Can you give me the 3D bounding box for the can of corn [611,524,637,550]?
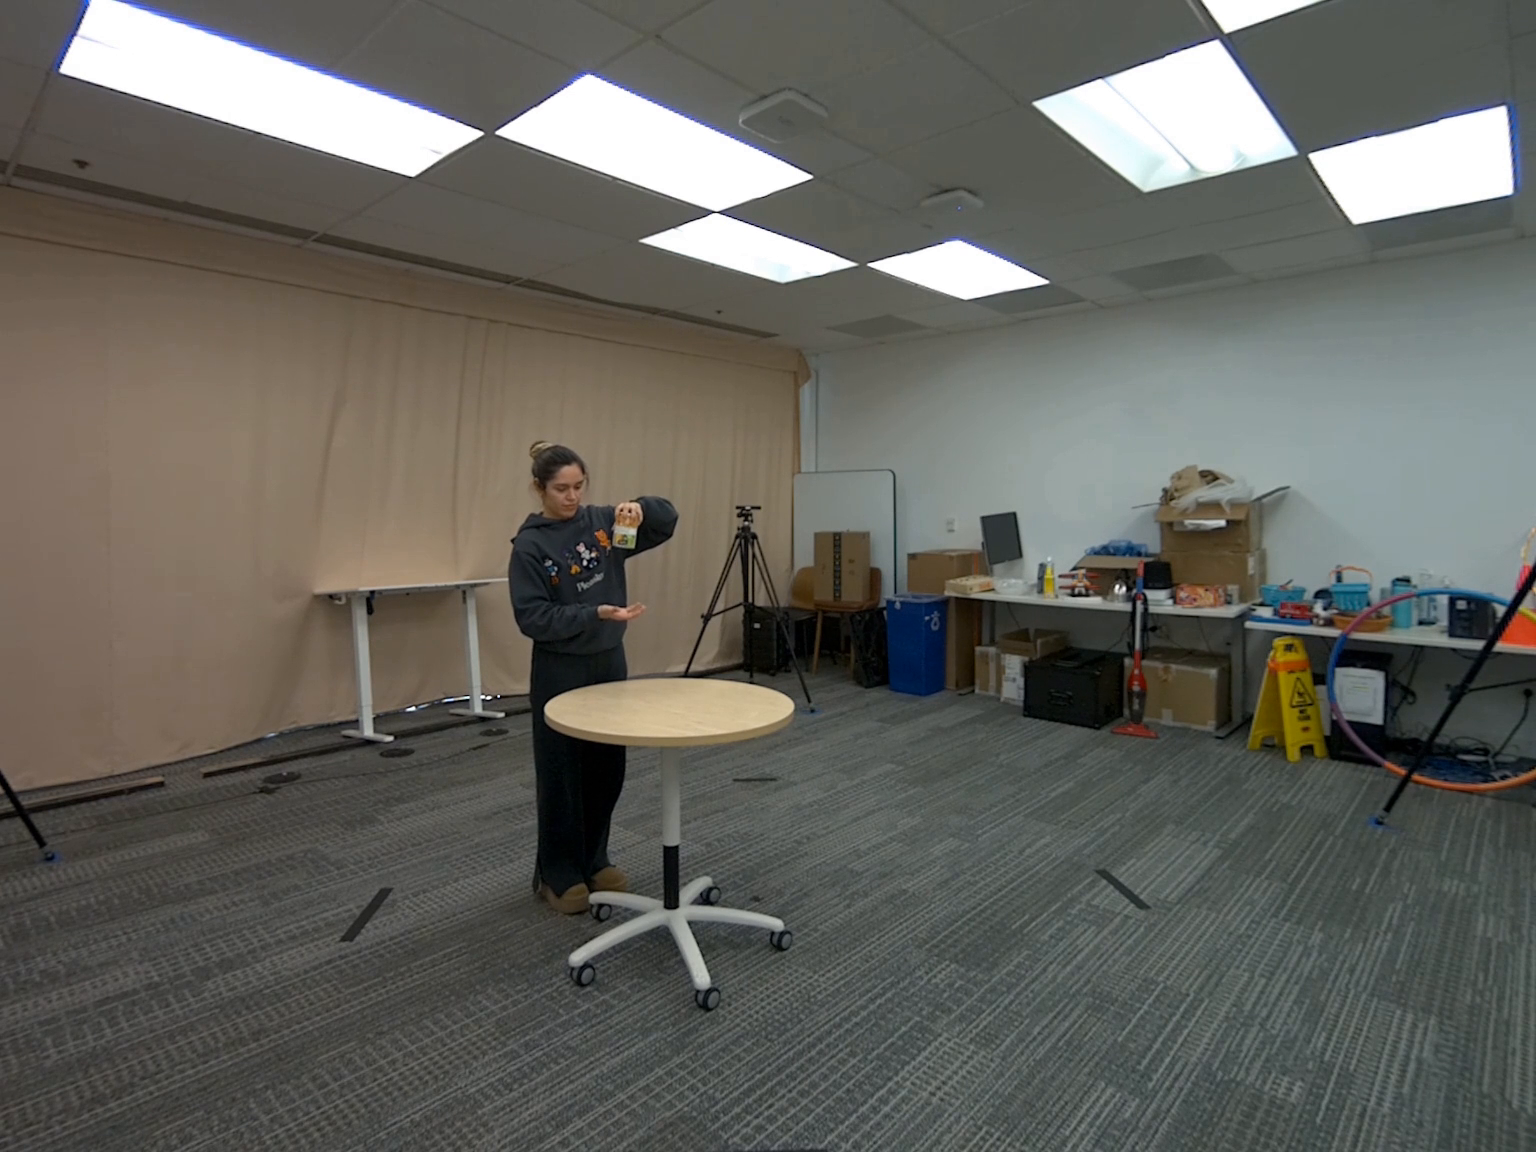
[{"bbox_3d":[-0.472,-0.142,2.771,0.074,0.111,0.074,5,6,-2],"label":"can of corn"}]
